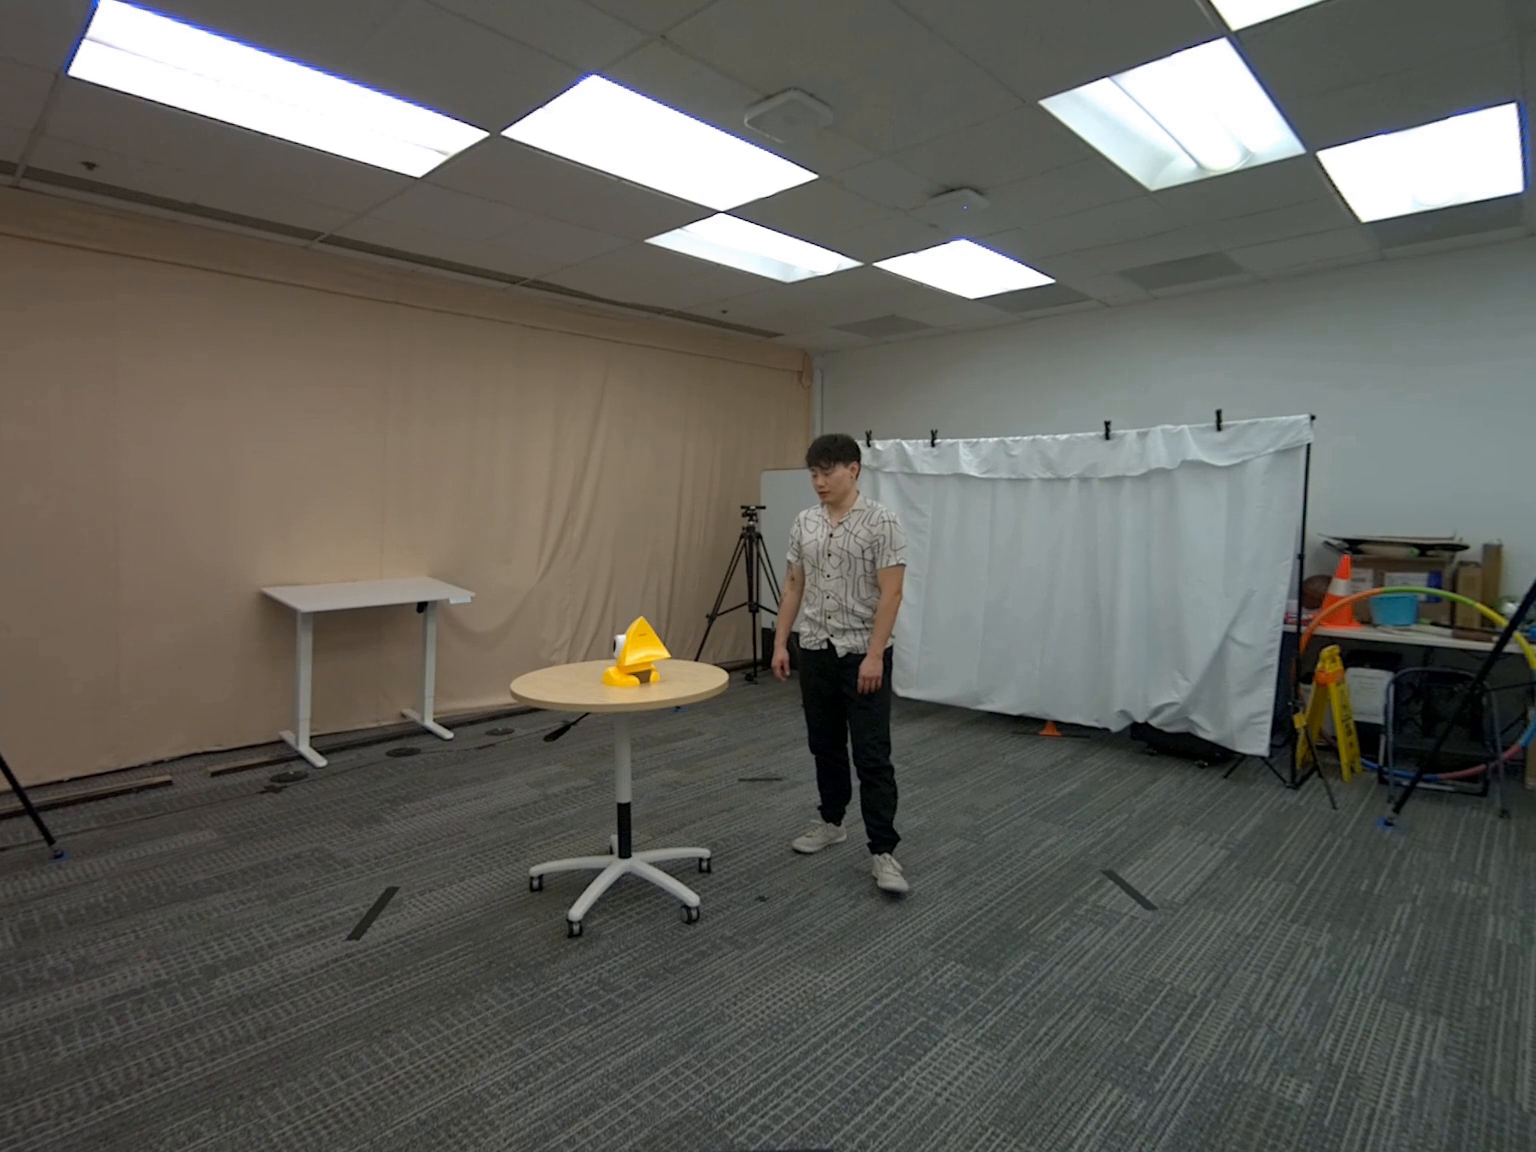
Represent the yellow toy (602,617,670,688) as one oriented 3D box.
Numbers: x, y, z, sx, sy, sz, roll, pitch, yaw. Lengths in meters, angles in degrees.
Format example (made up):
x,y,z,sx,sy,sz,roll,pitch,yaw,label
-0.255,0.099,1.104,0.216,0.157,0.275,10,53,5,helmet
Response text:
x,y,z,sx,sy,sz,roll,pitch,yaw,label
-0.477,0.255,2.940,0.199,0.230,0.198,1,4,44,yellow toy
